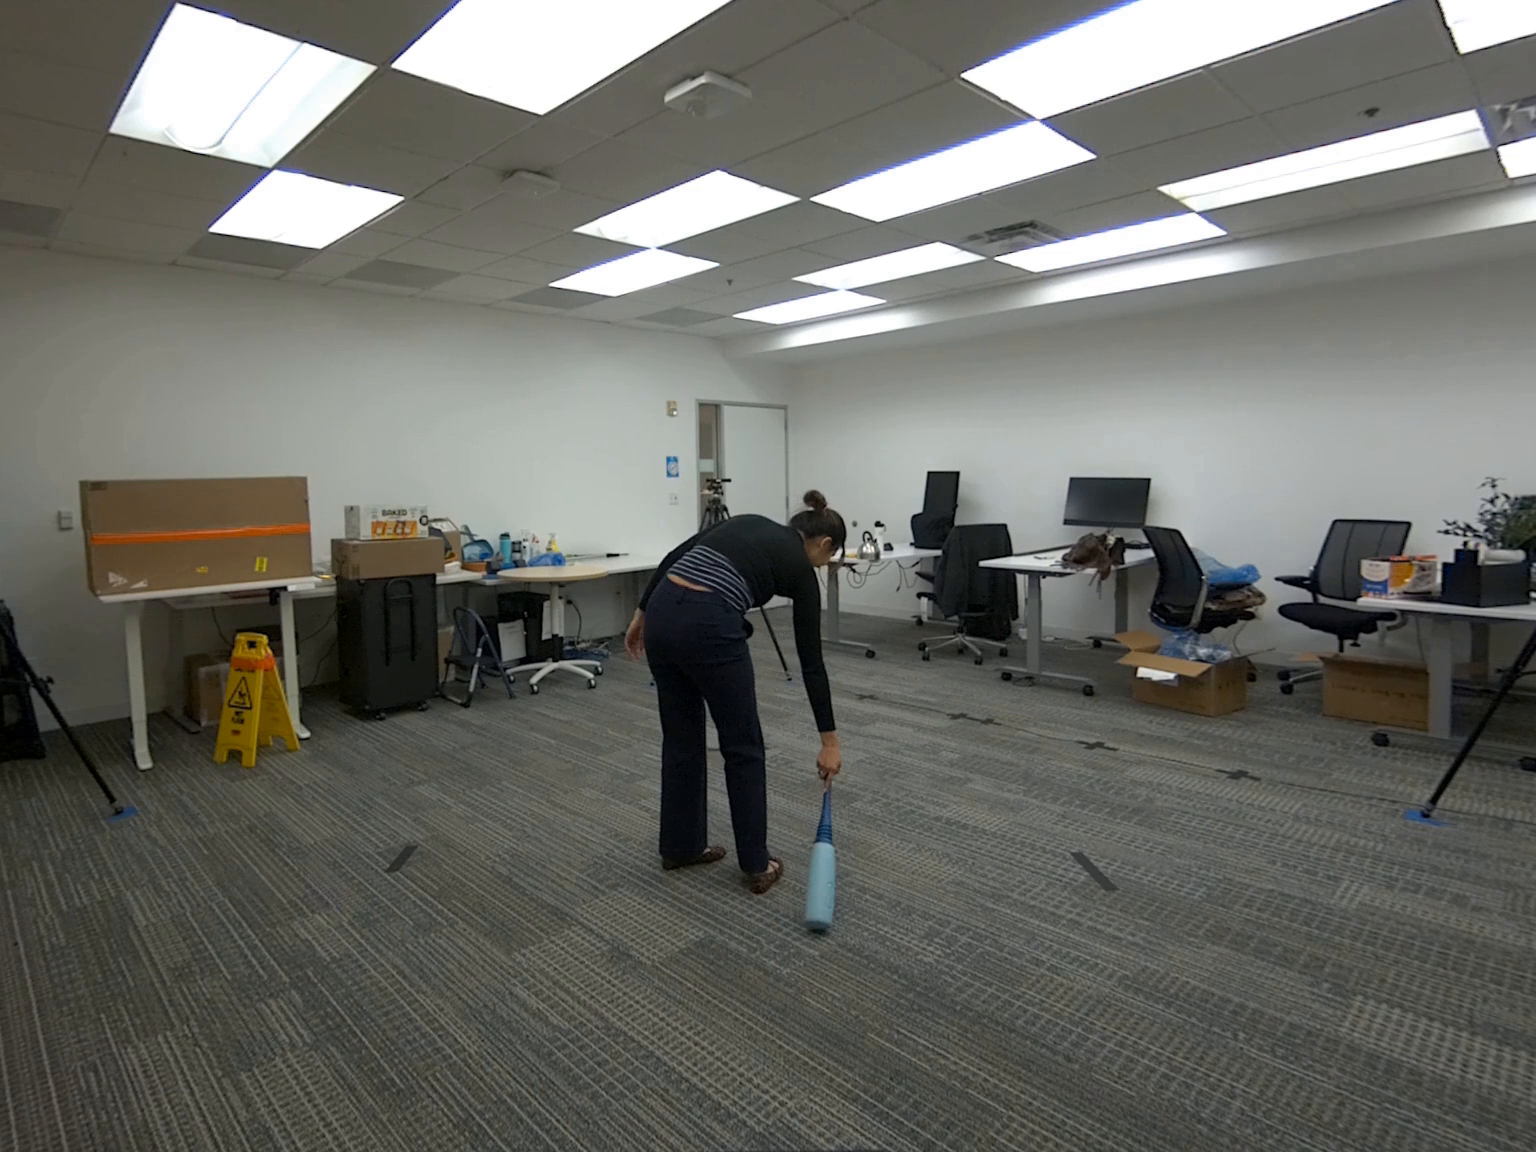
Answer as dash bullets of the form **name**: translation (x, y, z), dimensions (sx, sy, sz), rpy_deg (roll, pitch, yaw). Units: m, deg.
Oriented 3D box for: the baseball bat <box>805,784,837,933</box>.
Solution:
- **baseball bat**: translation (0.185, 0.864, 2.785), dimensions (0.089, 0.555, 0.087), rpy_deg (5, -39, 2)
